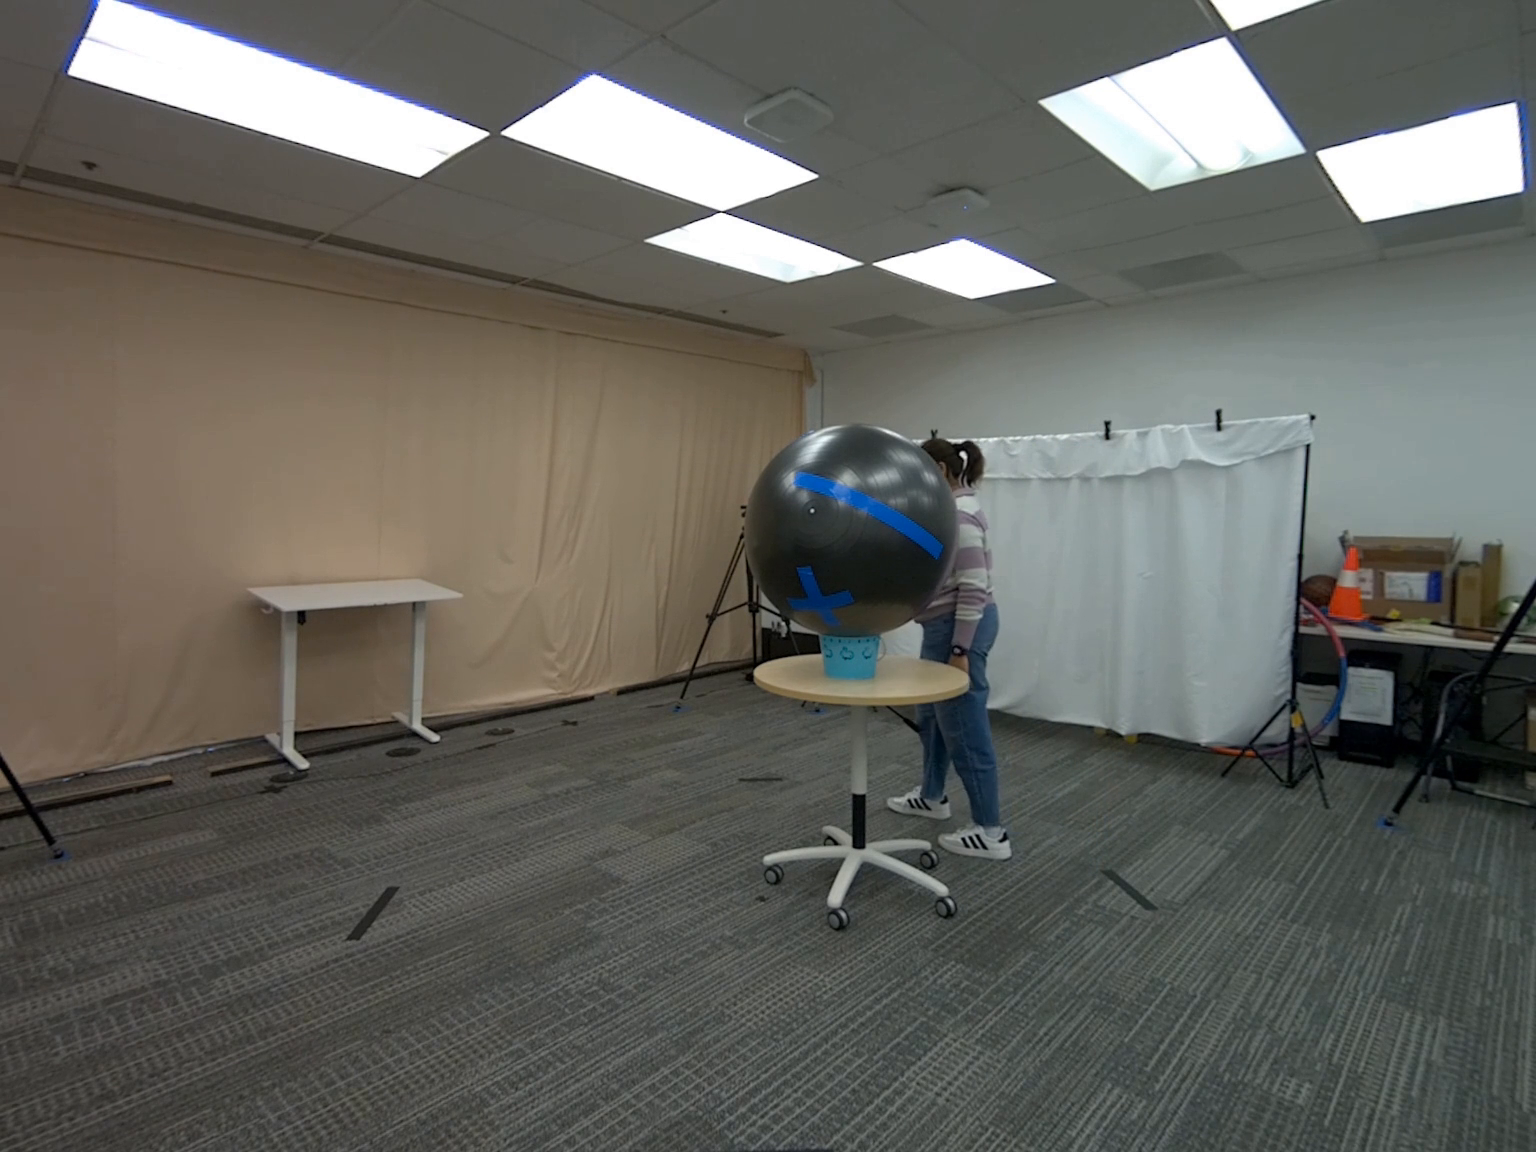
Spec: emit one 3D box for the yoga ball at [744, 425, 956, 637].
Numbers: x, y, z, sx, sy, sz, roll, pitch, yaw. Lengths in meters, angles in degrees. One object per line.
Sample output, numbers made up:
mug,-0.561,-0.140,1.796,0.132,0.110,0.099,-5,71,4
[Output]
yoga ball,0.296,-0.157,3.012,0.757,0.756,0.760,0,4,-2
